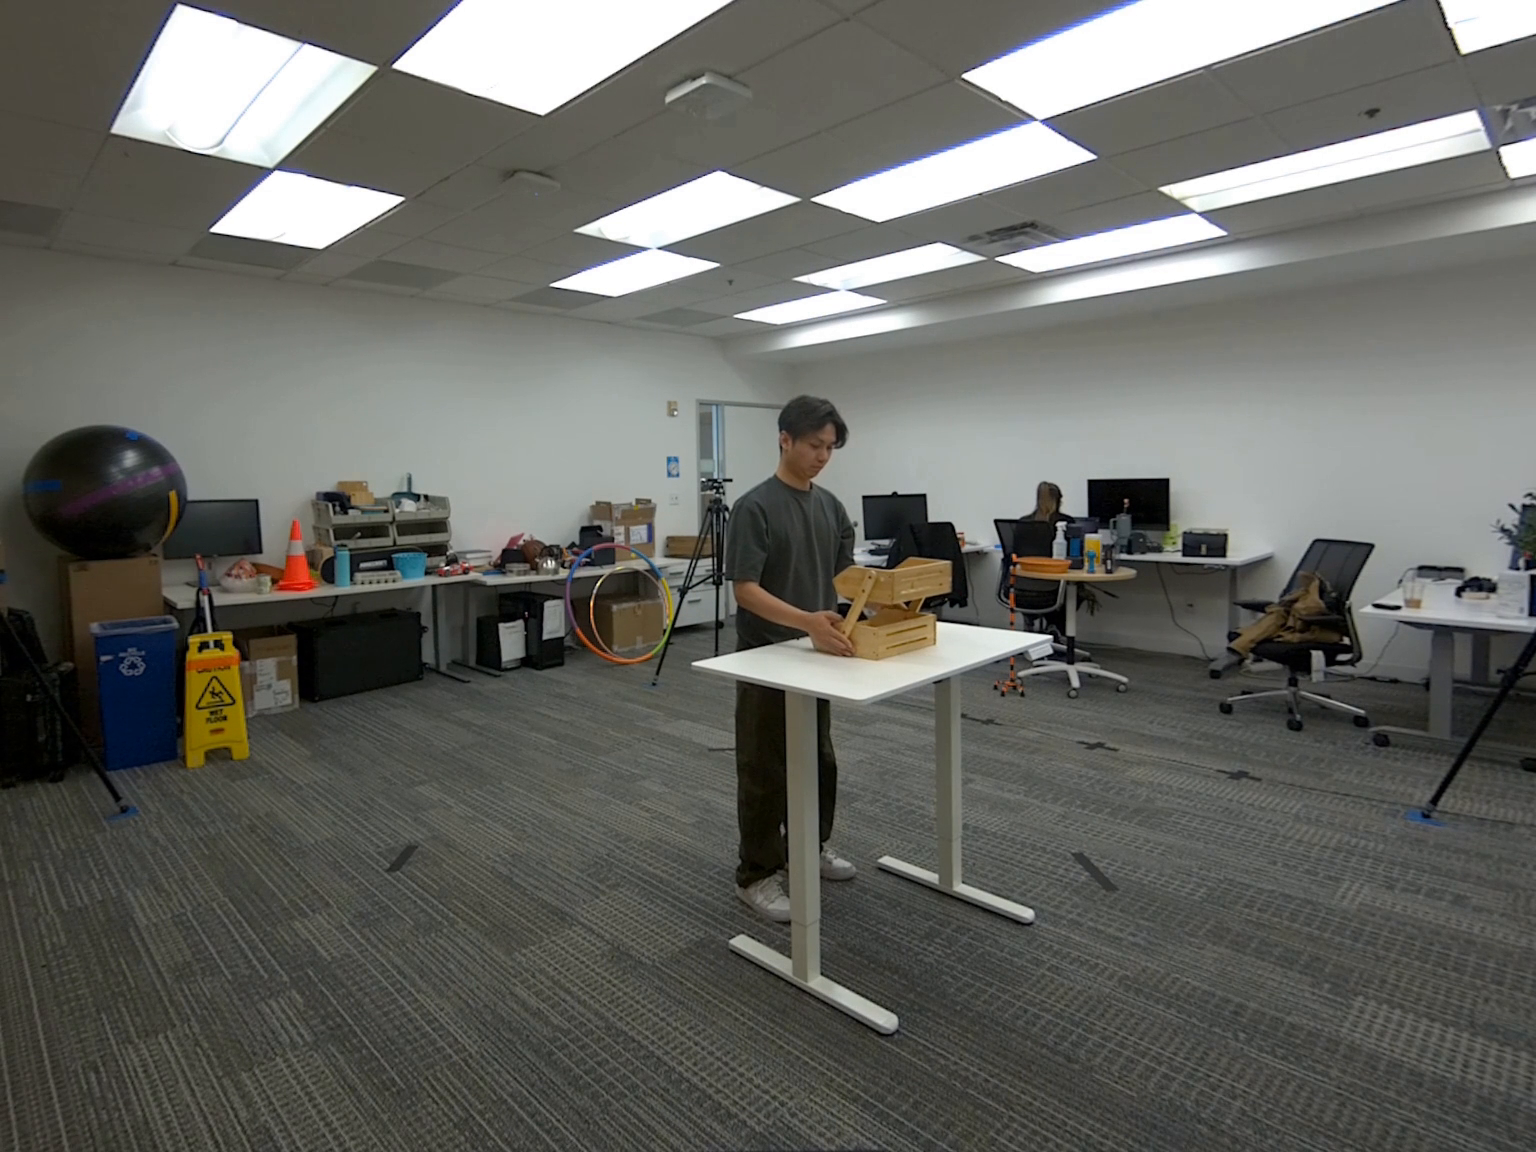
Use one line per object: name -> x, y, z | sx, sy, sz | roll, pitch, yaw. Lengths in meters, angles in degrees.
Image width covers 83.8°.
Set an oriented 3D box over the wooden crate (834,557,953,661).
wooden crate -> 0.340, 0.085, 2.558 | 0.316, 0.272, 0.311 | -7, 10, -45
